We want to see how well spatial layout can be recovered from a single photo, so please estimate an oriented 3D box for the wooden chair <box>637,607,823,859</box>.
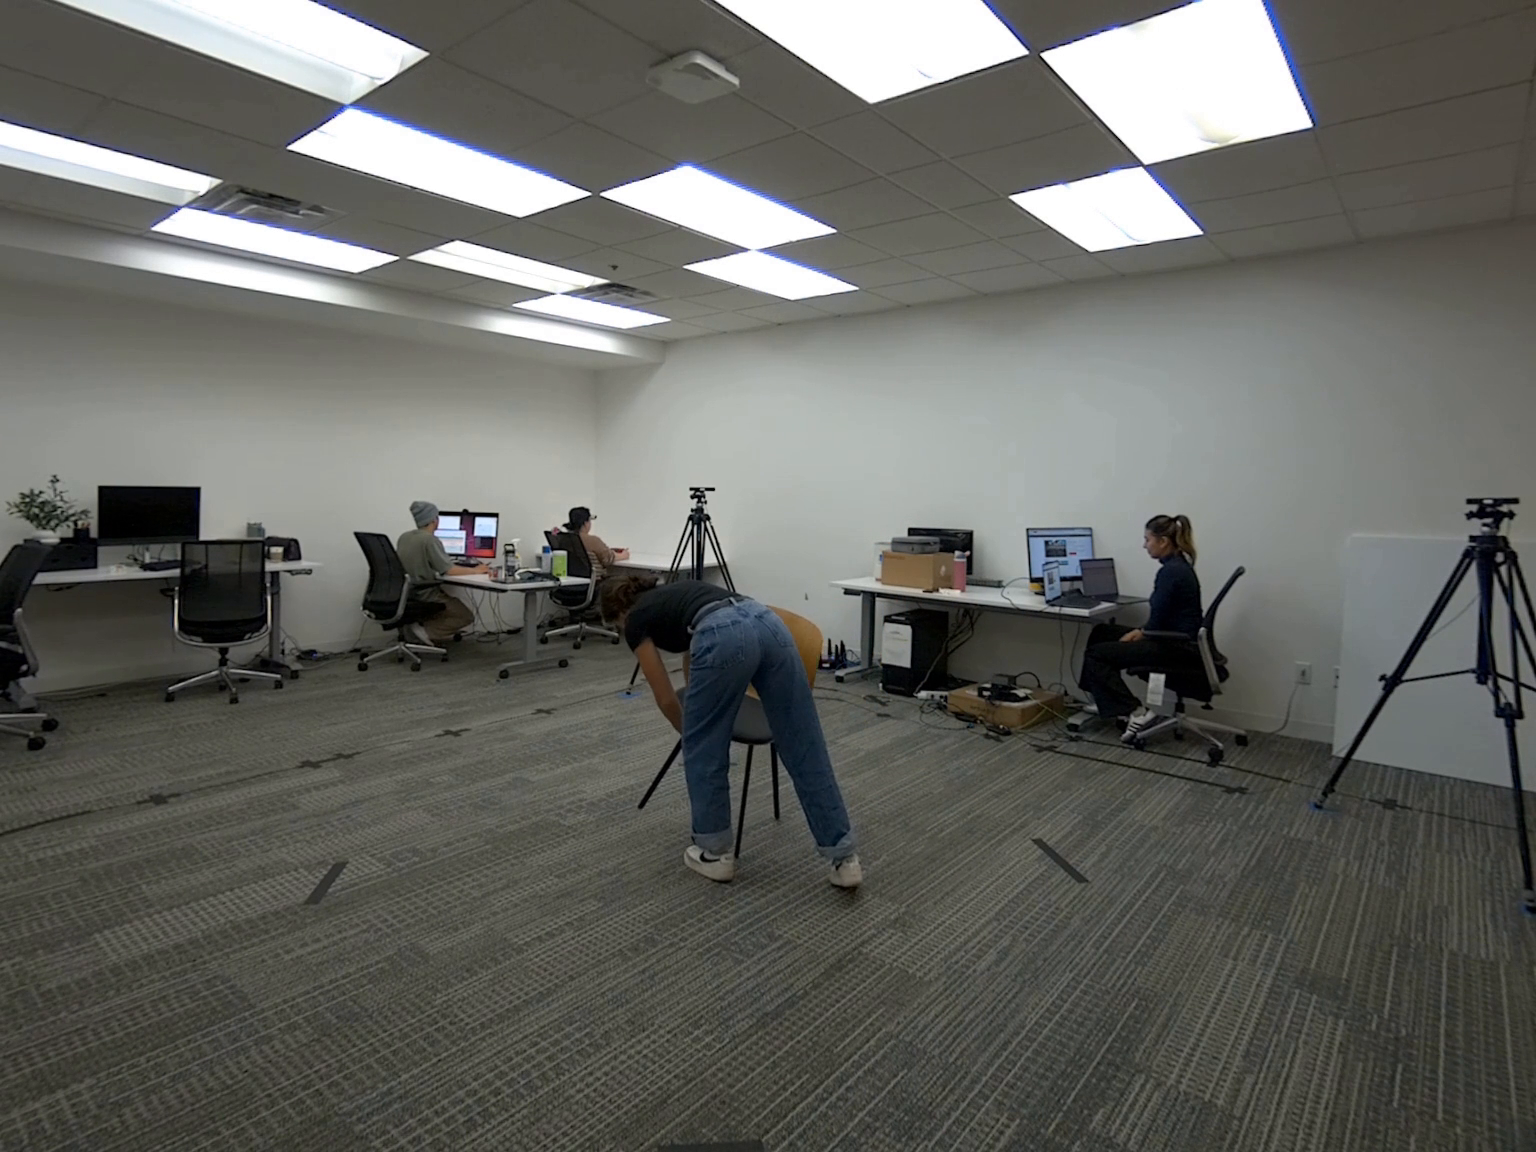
[{"bbox_3d":[-0.136,0.569,3.402,0.491,0.874,0.511,19,6,21],"label":"wooden chair"}]
